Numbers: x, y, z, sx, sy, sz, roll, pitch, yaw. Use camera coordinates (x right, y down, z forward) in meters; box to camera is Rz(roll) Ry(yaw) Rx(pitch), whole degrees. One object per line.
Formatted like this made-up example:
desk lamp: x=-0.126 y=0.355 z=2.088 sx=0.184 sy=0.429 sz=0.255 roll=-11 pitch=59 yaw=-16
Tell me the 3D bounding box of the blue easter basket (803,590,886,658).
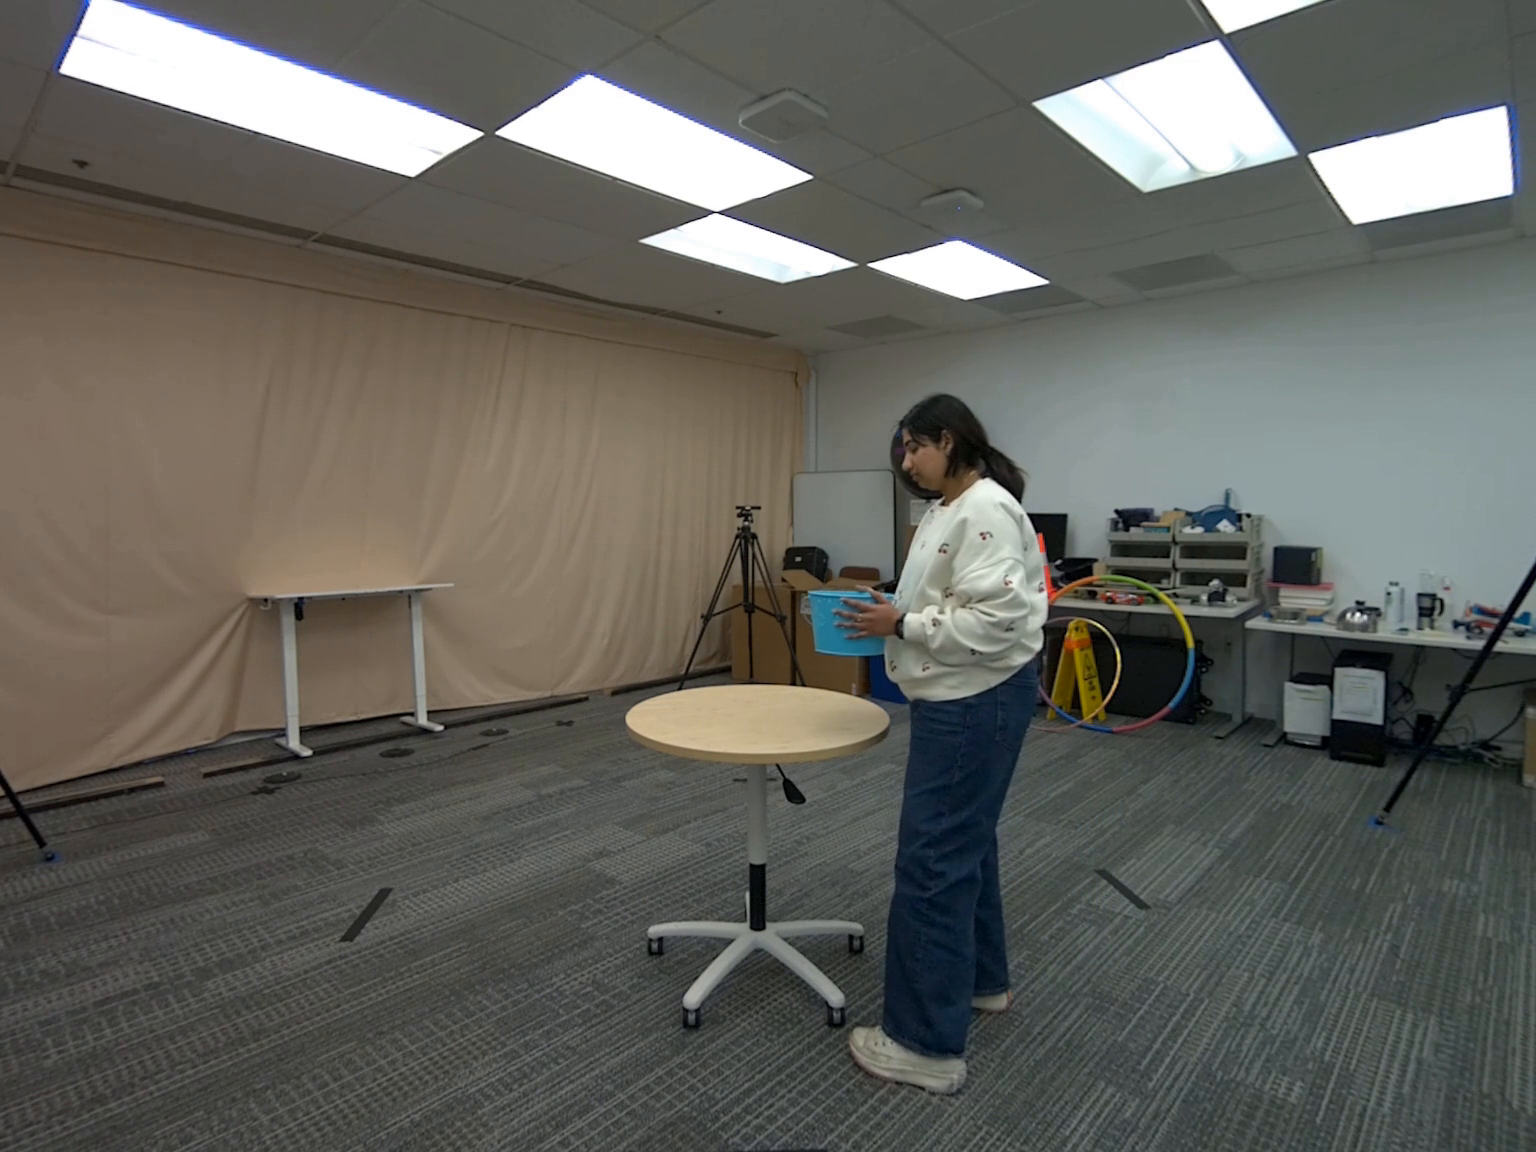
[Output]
blue easter basket: x=0.235 y=0.127 z=2.215 sx=0.243 sy=0.156 sz=0.244 roll=2 pitch=3 yaw=-2
